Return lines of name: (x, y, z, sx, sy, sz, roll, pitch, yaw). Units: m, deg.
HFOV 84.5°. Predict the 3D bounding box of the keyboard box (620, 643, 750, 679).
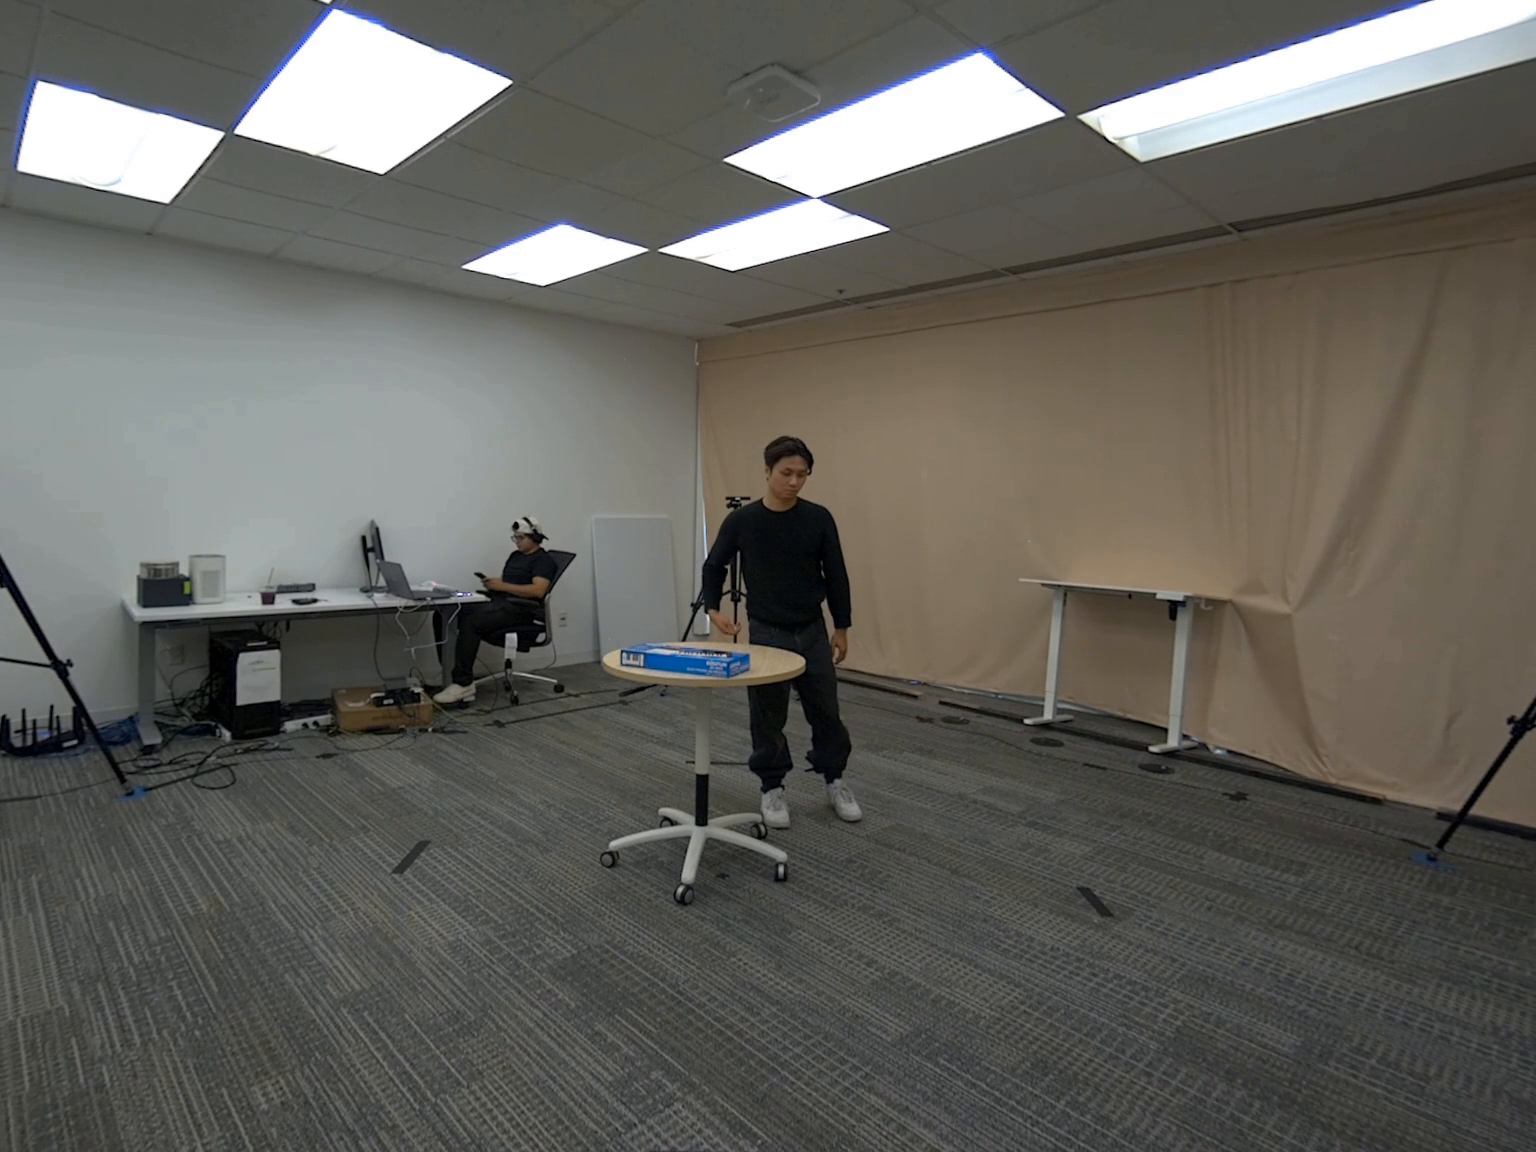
keyboard box: (-0.308, 0.301, 3.005, 0.445, 0.059, 0.173, 3, 5, 26)
